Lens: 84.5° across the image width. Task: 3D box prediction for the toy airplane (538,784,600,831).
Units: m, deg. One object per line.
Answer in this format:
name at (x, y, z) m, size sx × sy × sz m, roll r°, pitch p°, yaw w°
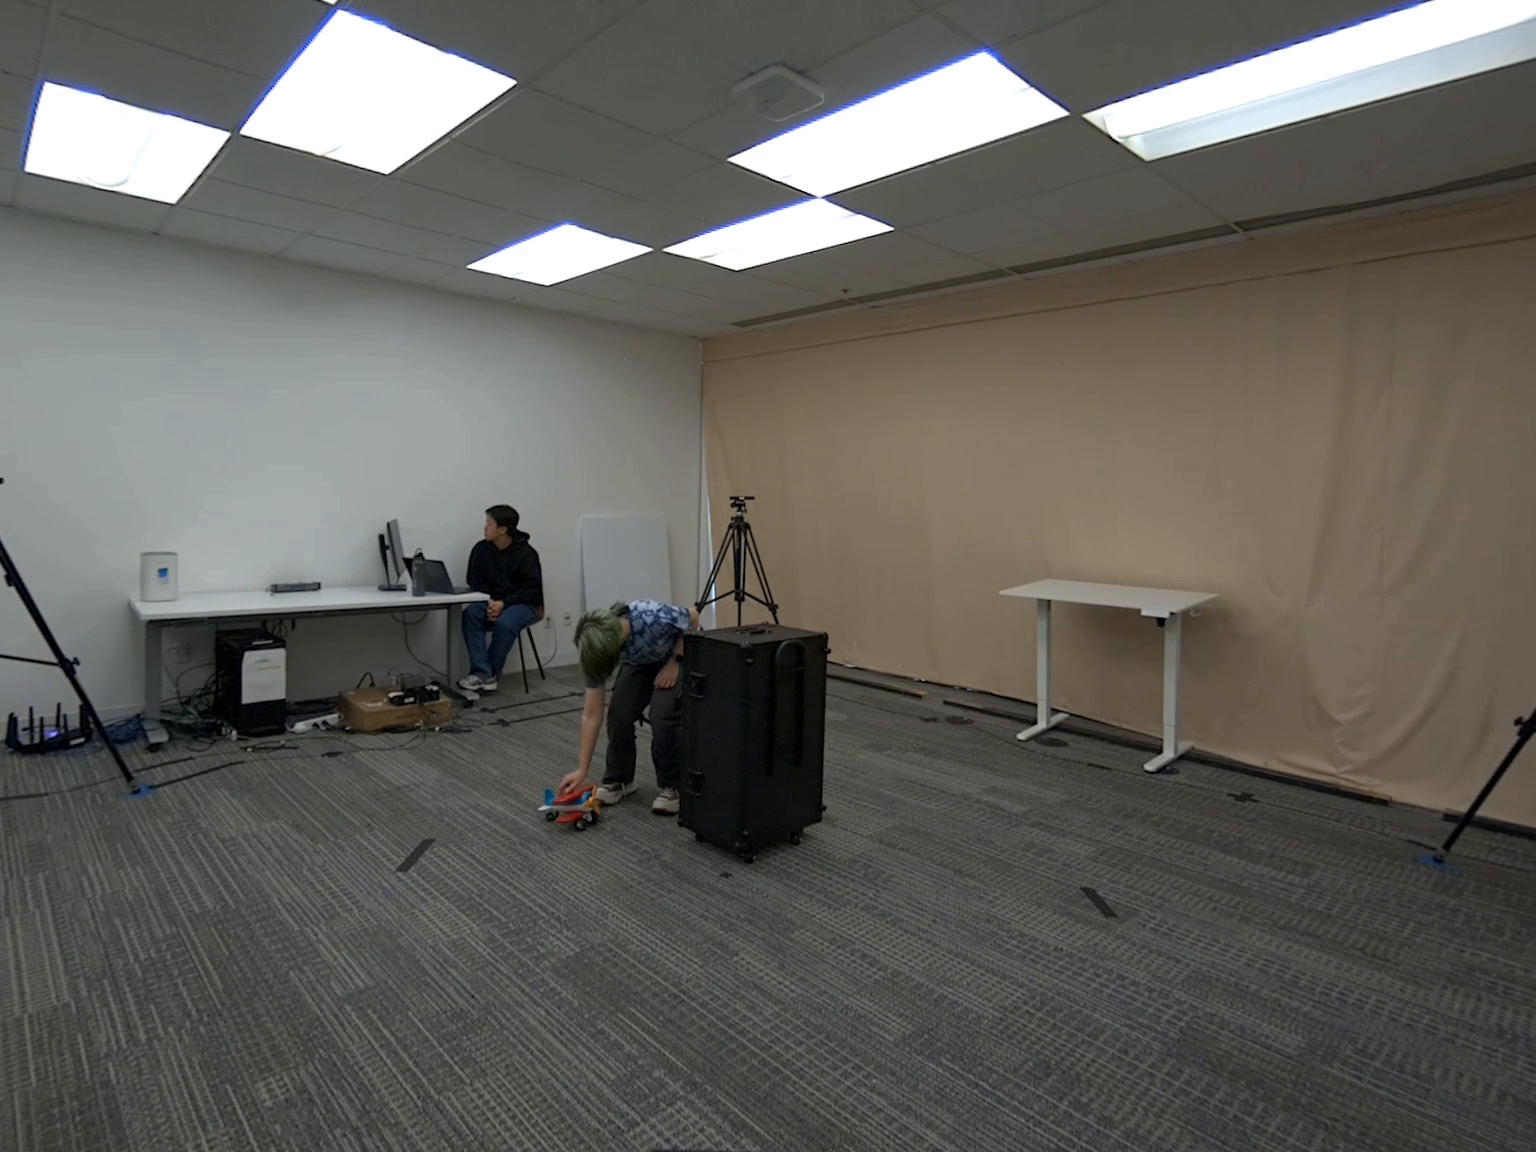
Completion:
toy airplane at (-0.846, 0.964, 3.536) m, size 0.259 × 0.156 × 0.252 m, roll 2°, pitch 5°, yaw -3°
